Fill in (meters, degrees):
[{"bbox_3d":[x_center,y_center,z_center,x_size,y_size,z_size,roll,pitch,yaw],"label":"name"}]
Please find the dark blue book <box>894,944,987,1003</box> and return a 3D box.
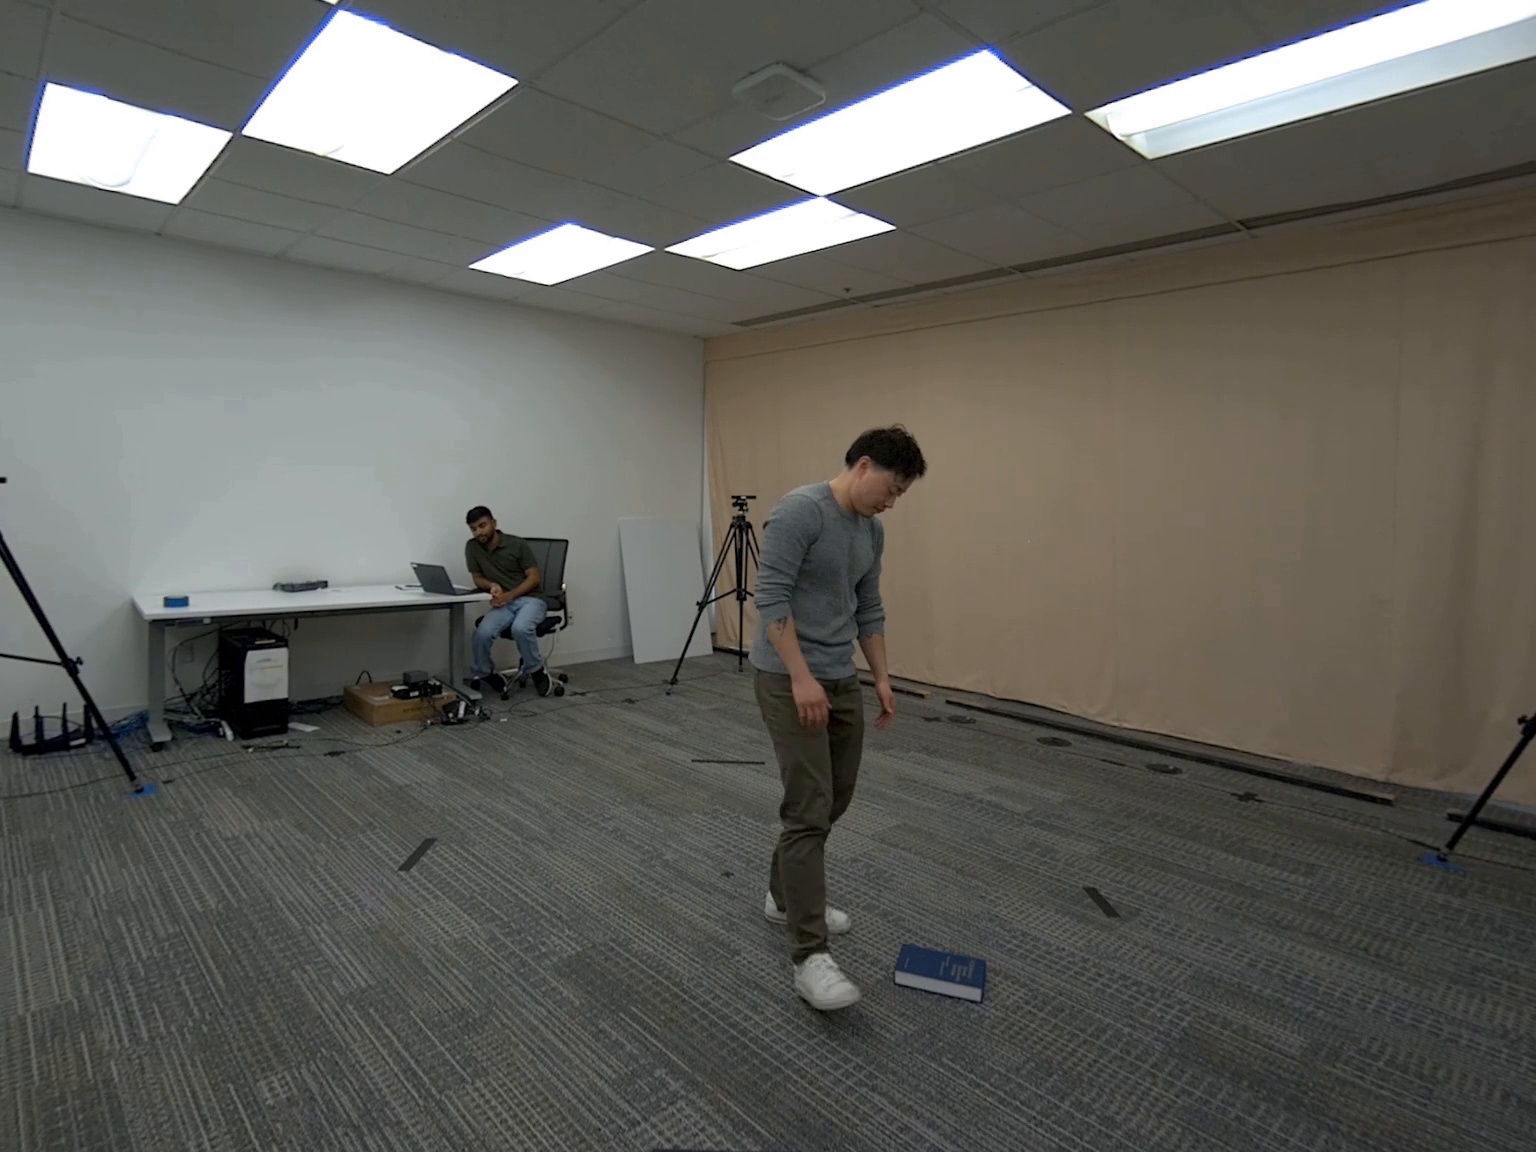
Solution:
[{"bbox_3d":[0.494,1.155,2.449,0.249,0.045,0.161,3,6,19],"label":"dark blue book"}]
